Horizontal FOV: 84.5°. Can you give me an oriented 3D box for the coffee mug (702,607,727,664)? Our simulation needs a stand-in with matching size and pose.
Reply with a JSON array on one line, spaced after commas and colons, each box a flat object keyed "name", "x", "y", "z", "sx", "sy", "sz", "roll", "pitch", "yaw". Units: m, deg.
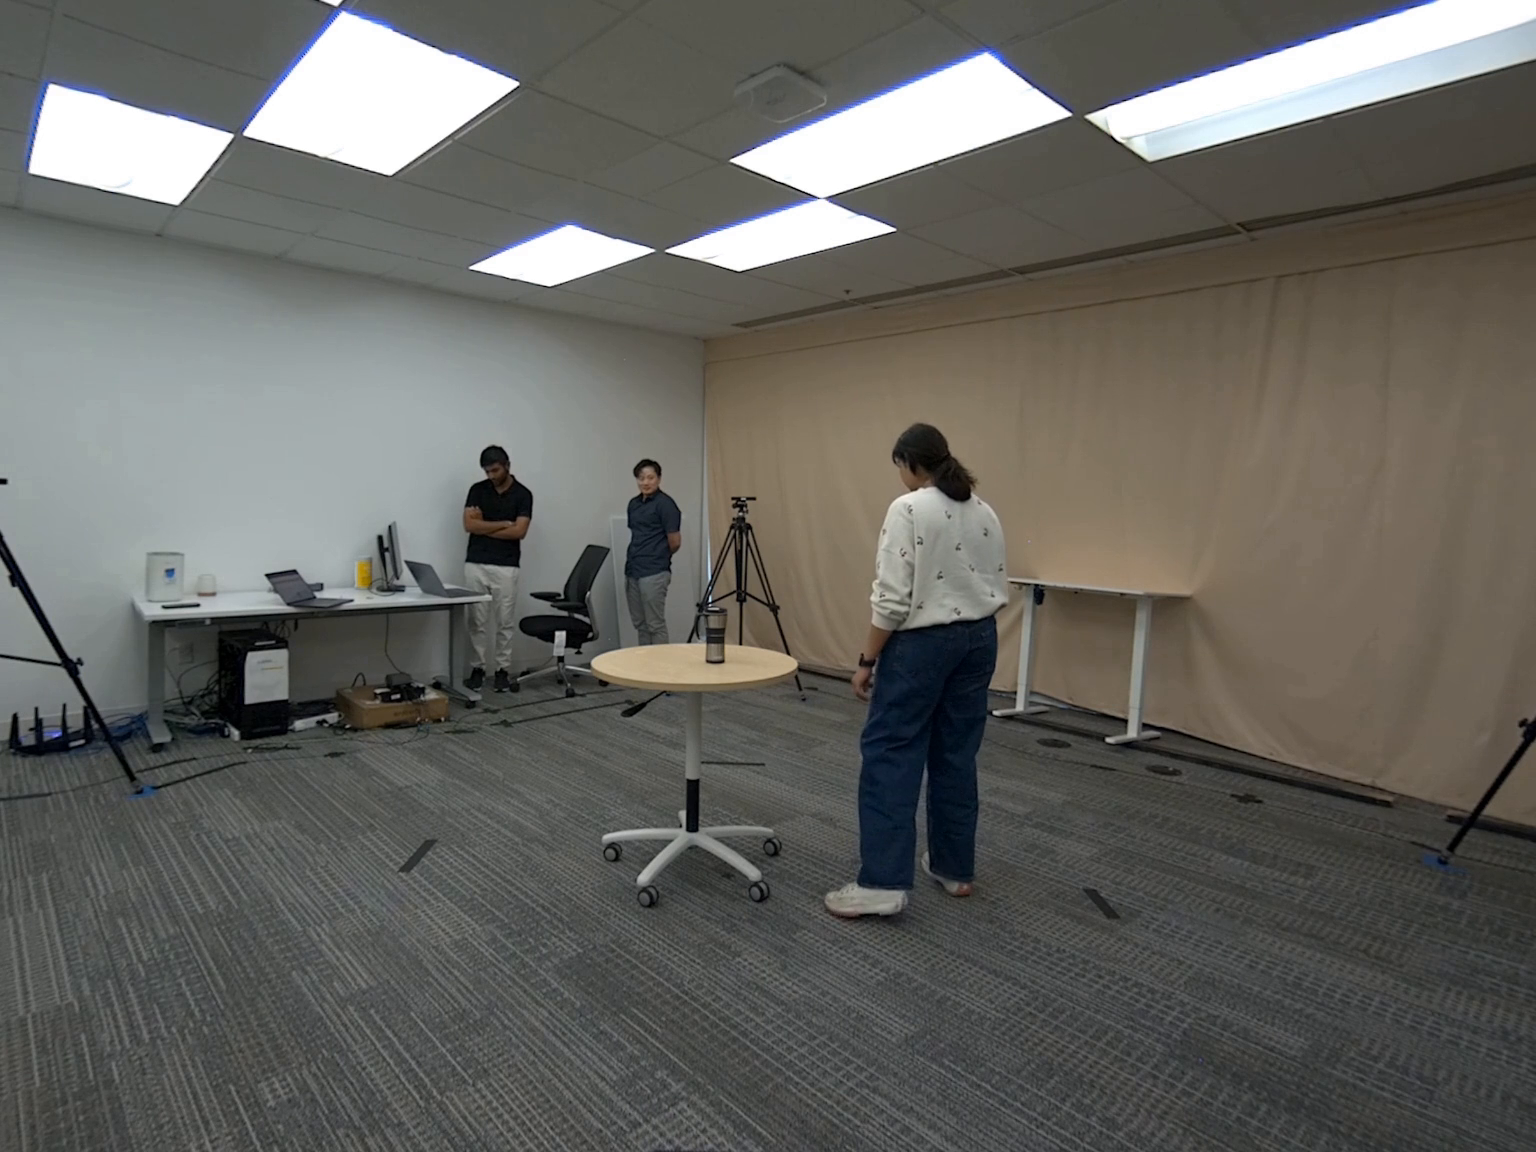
[{"name": "coffee mug", "x": -0.209, "y": 0.219, "z": 3.137, "sx": 0.086, "sy": 0.202, "sz": 0.125, "roll": -5, "pitch": 11, "yaw": -41}]
